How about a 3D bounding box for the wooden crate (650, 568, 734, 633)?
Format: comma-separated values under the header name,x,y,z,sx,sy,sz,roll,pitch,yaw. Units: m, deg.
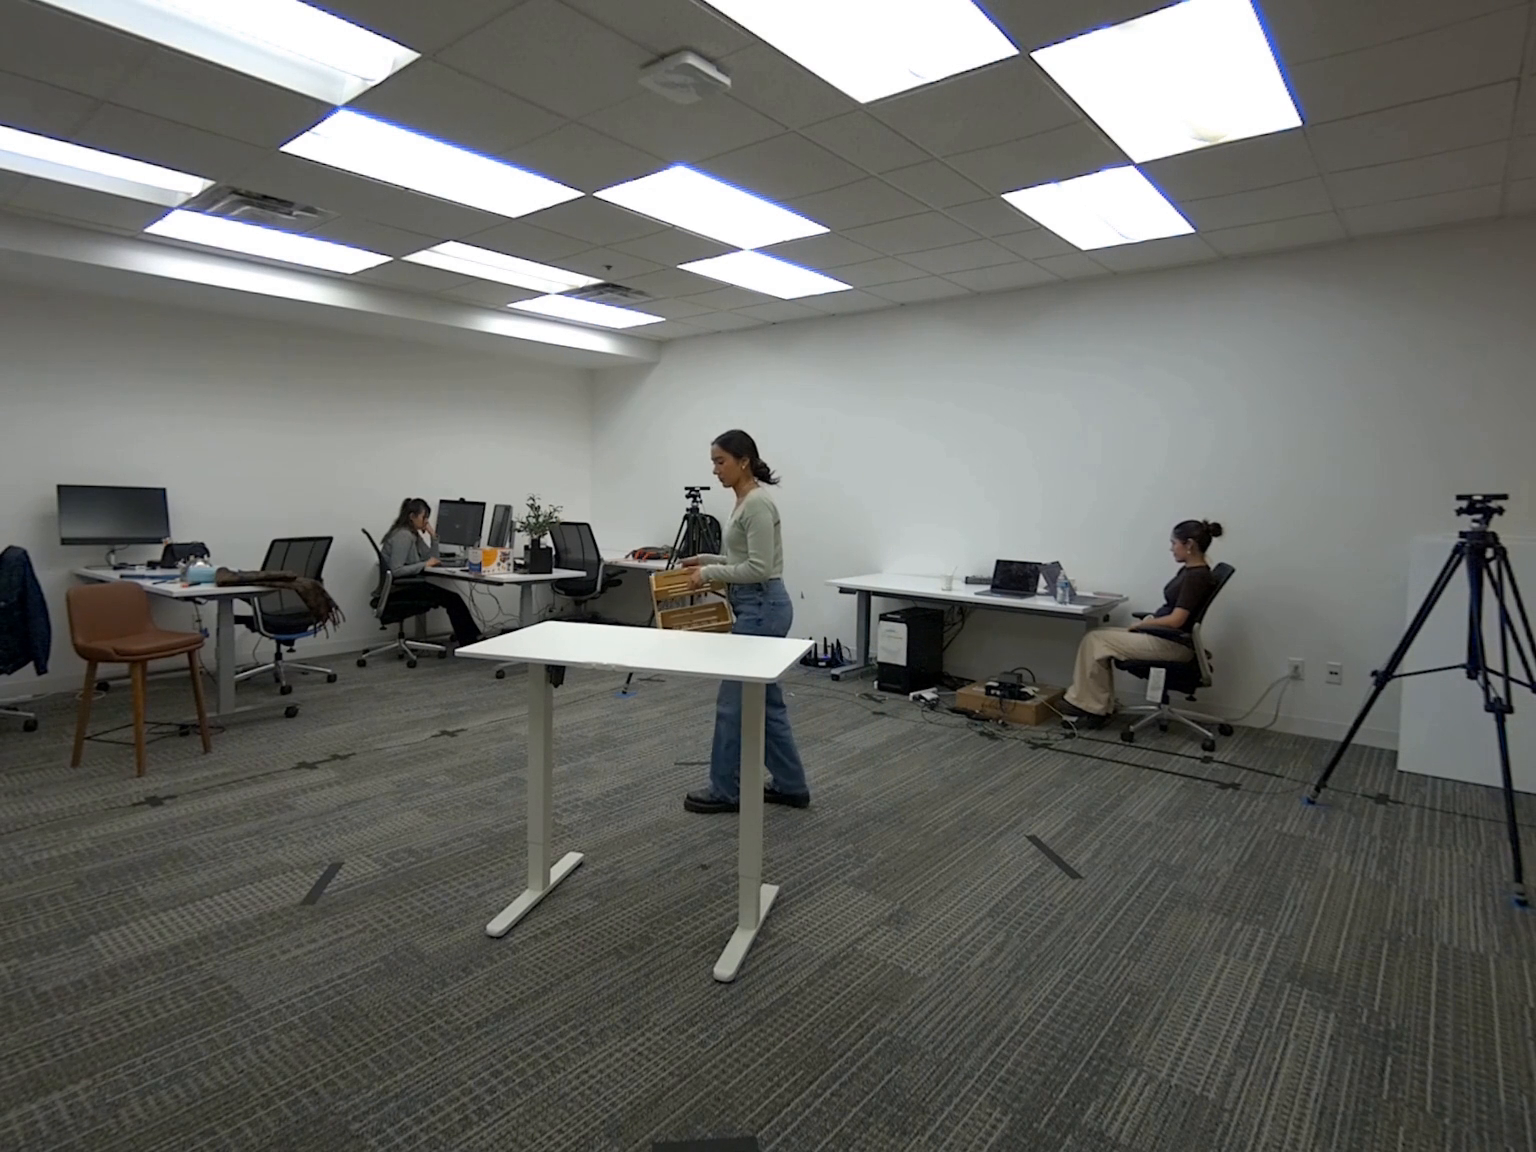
name,x,y,z,sx,sy,sz,roll,pitch,yaw
wooden crate,-0.342,0.108,3.647,0.323,0.270,0.307,-8,11,-5
